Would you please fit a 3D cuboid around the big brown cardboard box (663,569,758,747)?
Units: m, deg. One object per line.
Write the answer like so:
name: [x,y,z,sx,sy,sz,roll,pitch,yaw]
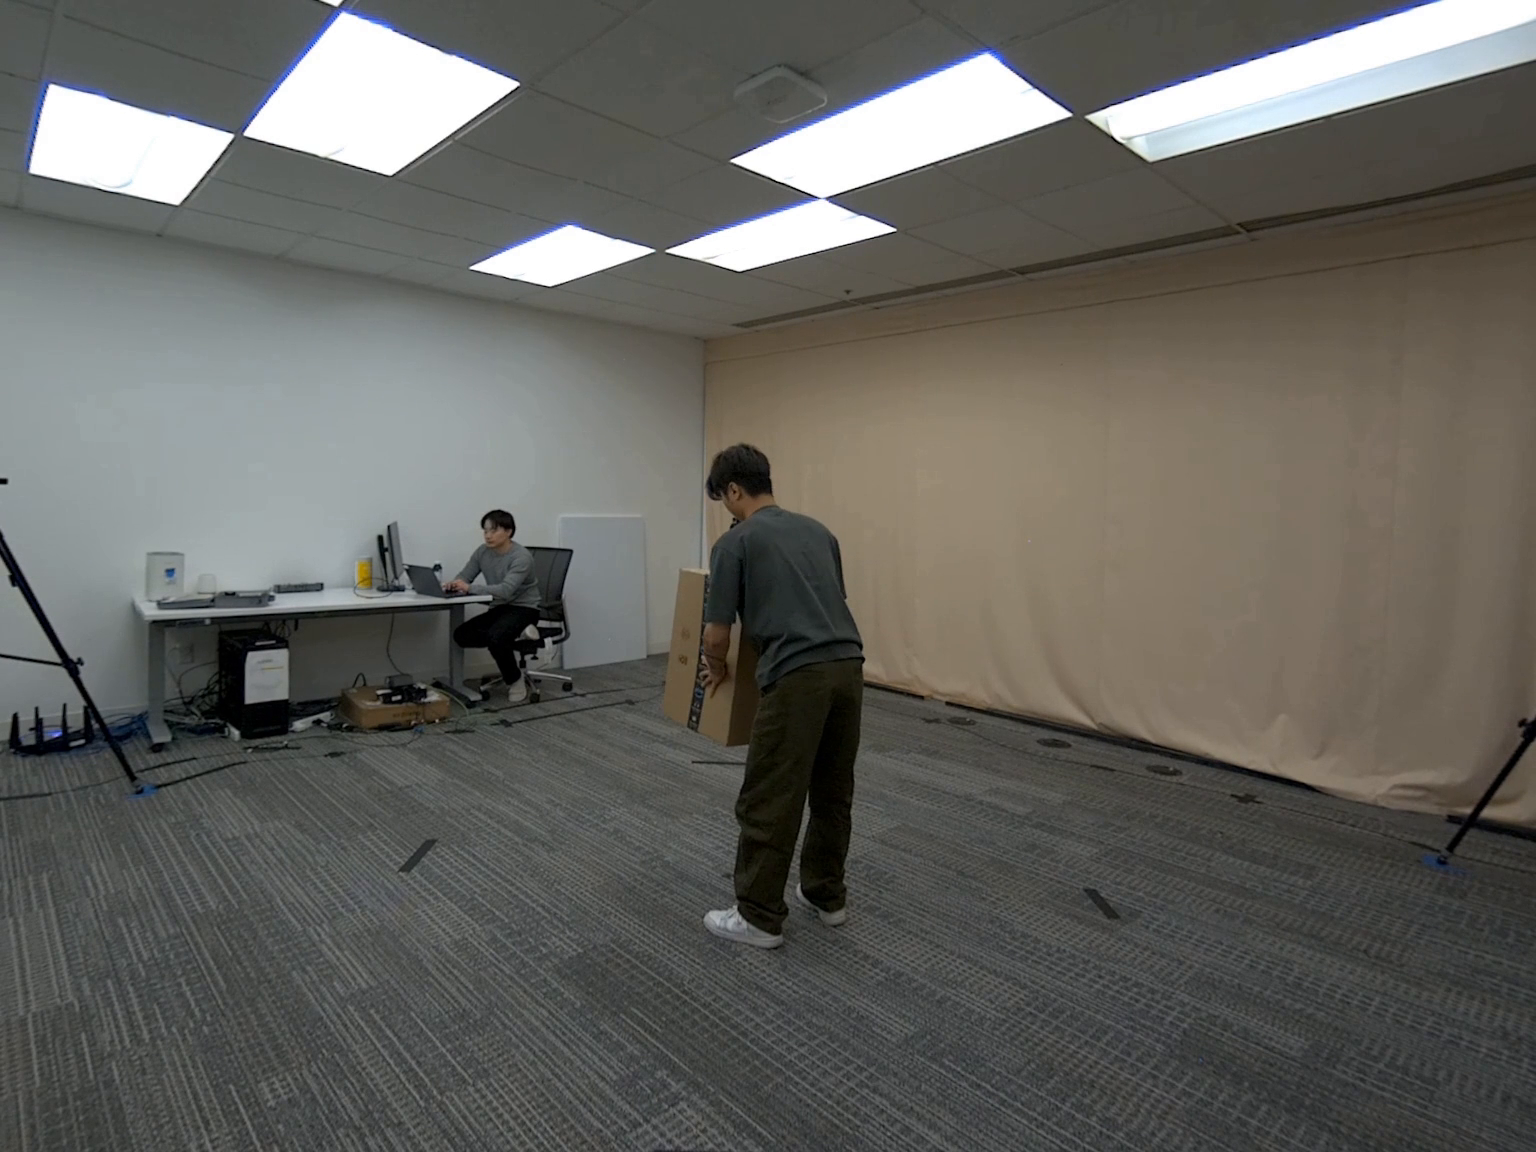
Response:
big brown cardboard box: [-0.160,0.283,3.073,0.227,0.588,0.429,6,4,-38]
